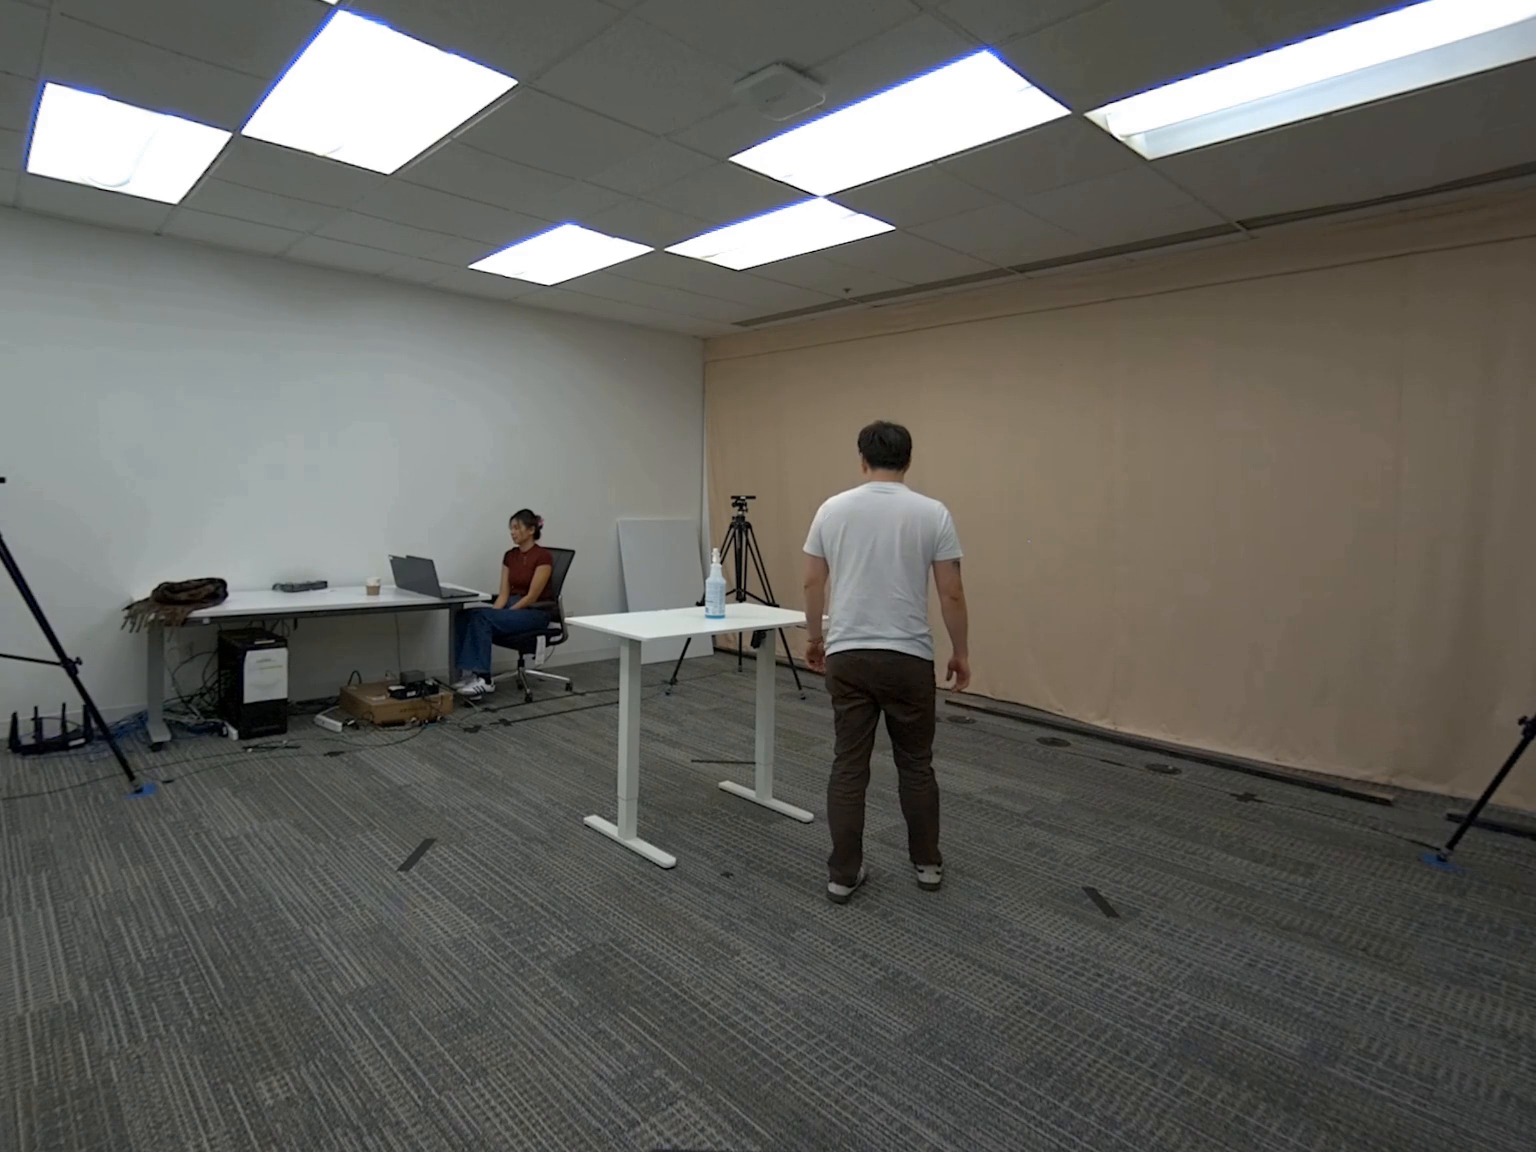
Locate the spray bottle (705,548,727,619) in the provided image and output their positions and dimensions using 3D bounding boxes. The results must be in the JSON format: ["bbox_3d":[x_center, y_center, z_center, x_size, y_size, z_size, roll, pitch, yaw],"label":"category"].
[{"bbox_3d":[-0.231,0.033,3.571,0.089,0.296,0.088,5,6,27],"label":"spray bottle"}]
